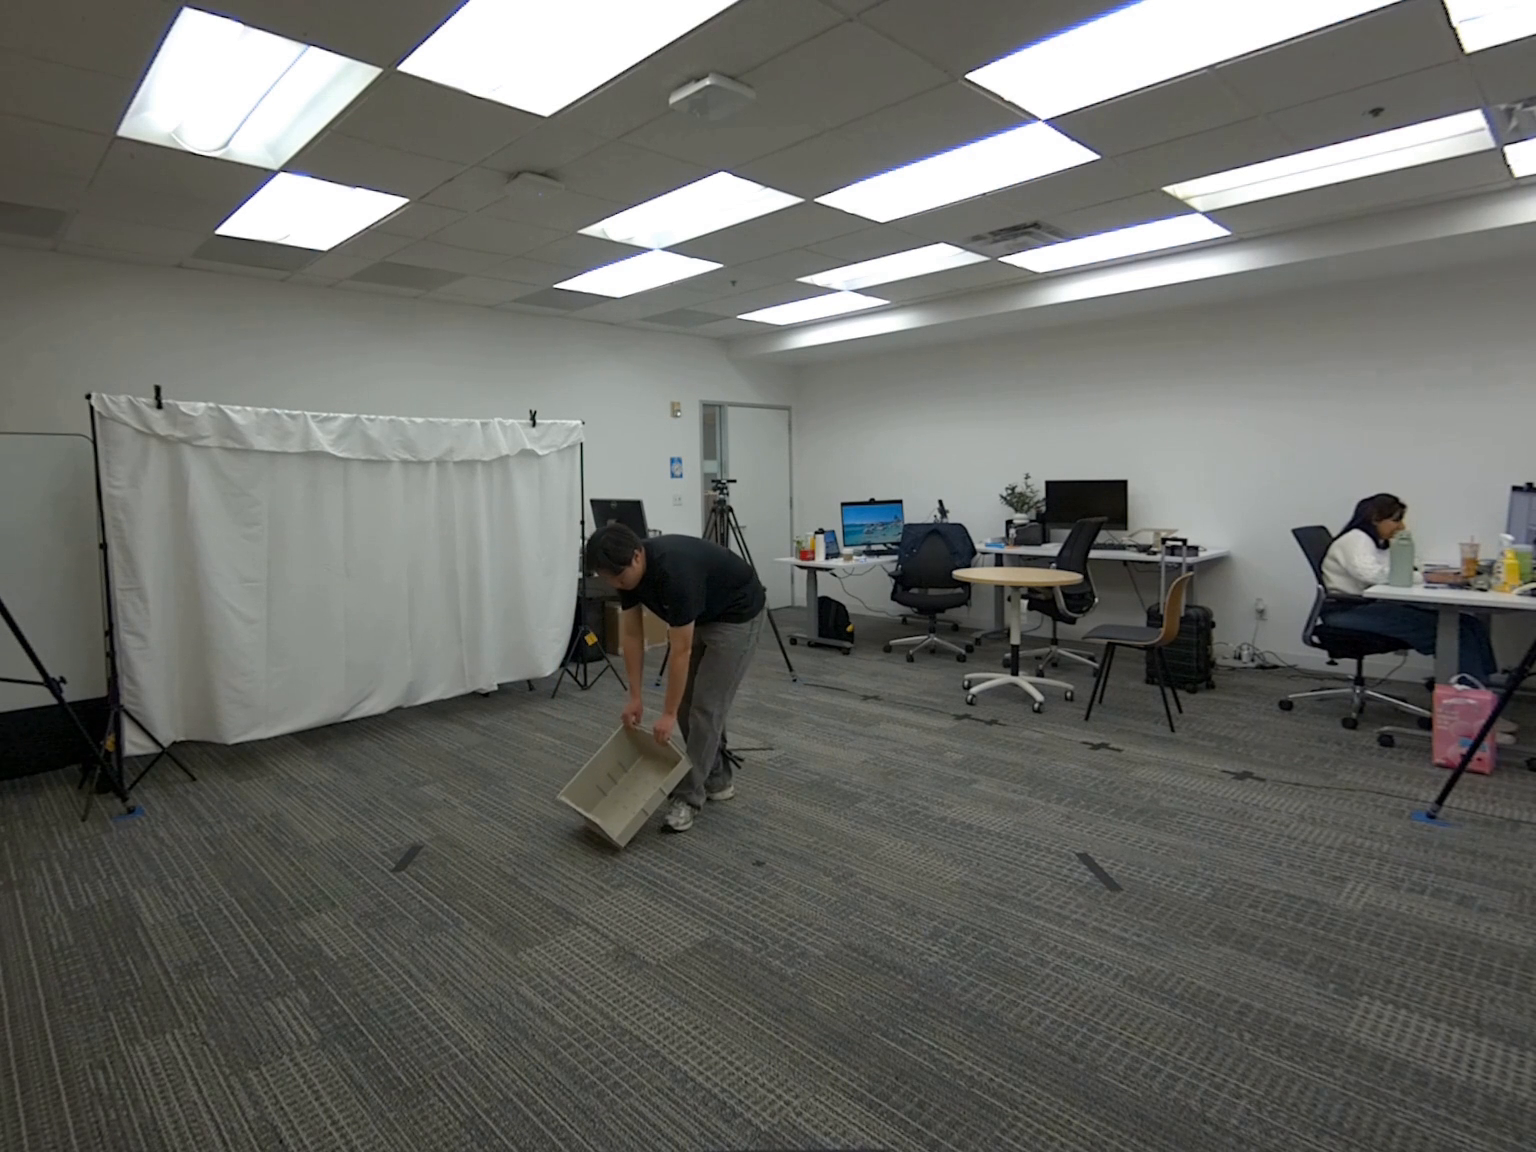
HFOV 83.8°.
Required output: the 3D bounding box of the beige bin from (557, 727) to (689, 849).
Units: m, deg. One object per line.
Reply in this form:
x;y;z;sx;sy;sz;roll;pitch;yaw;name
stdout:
-0.555;0.826;3.406;0.422;0.183;0.388;-47;28;-25;beige bin
